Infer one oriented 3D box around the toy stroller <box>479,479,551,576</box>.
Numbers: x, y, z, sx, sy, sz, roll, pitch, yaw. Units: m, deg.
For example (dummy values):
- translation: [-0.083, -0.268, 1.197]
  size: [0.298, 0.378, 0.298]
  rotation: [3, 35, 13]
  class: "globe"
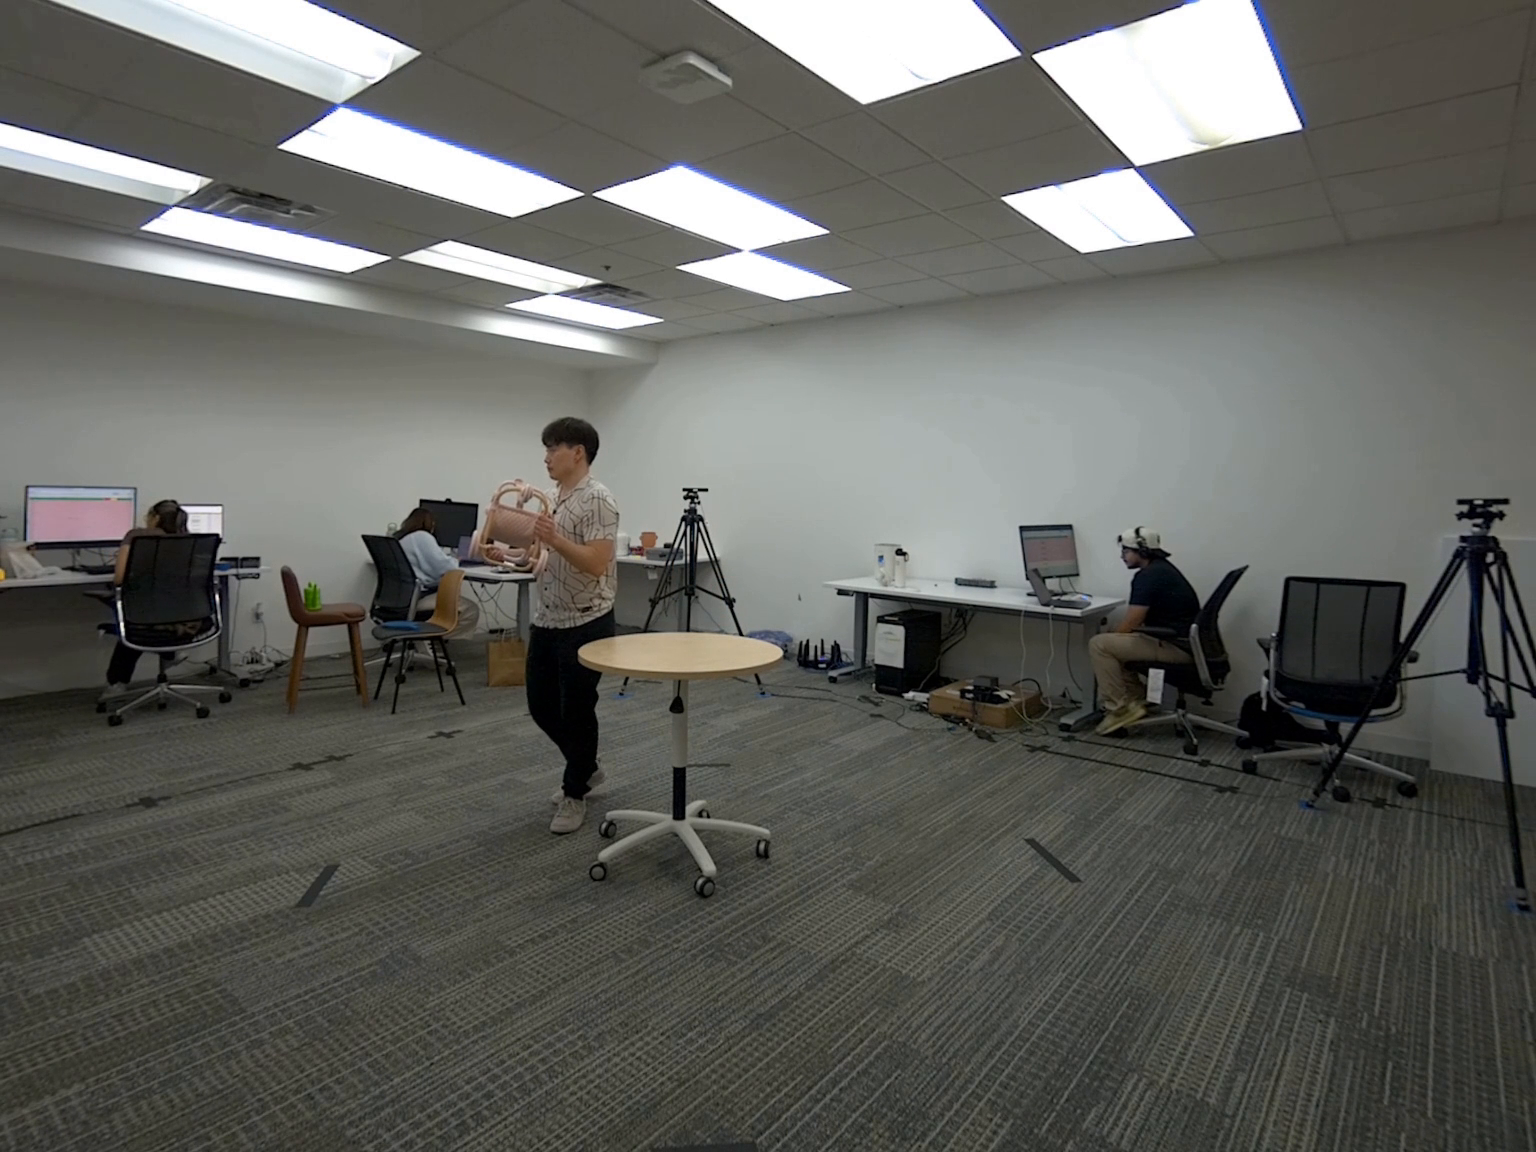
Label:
- translation: [-0.999, -0.210, 3.299]
  size: [0.275, 0.340, 0.549]
  rotation: [11, 8, -20]
  class: "toy stroller"
